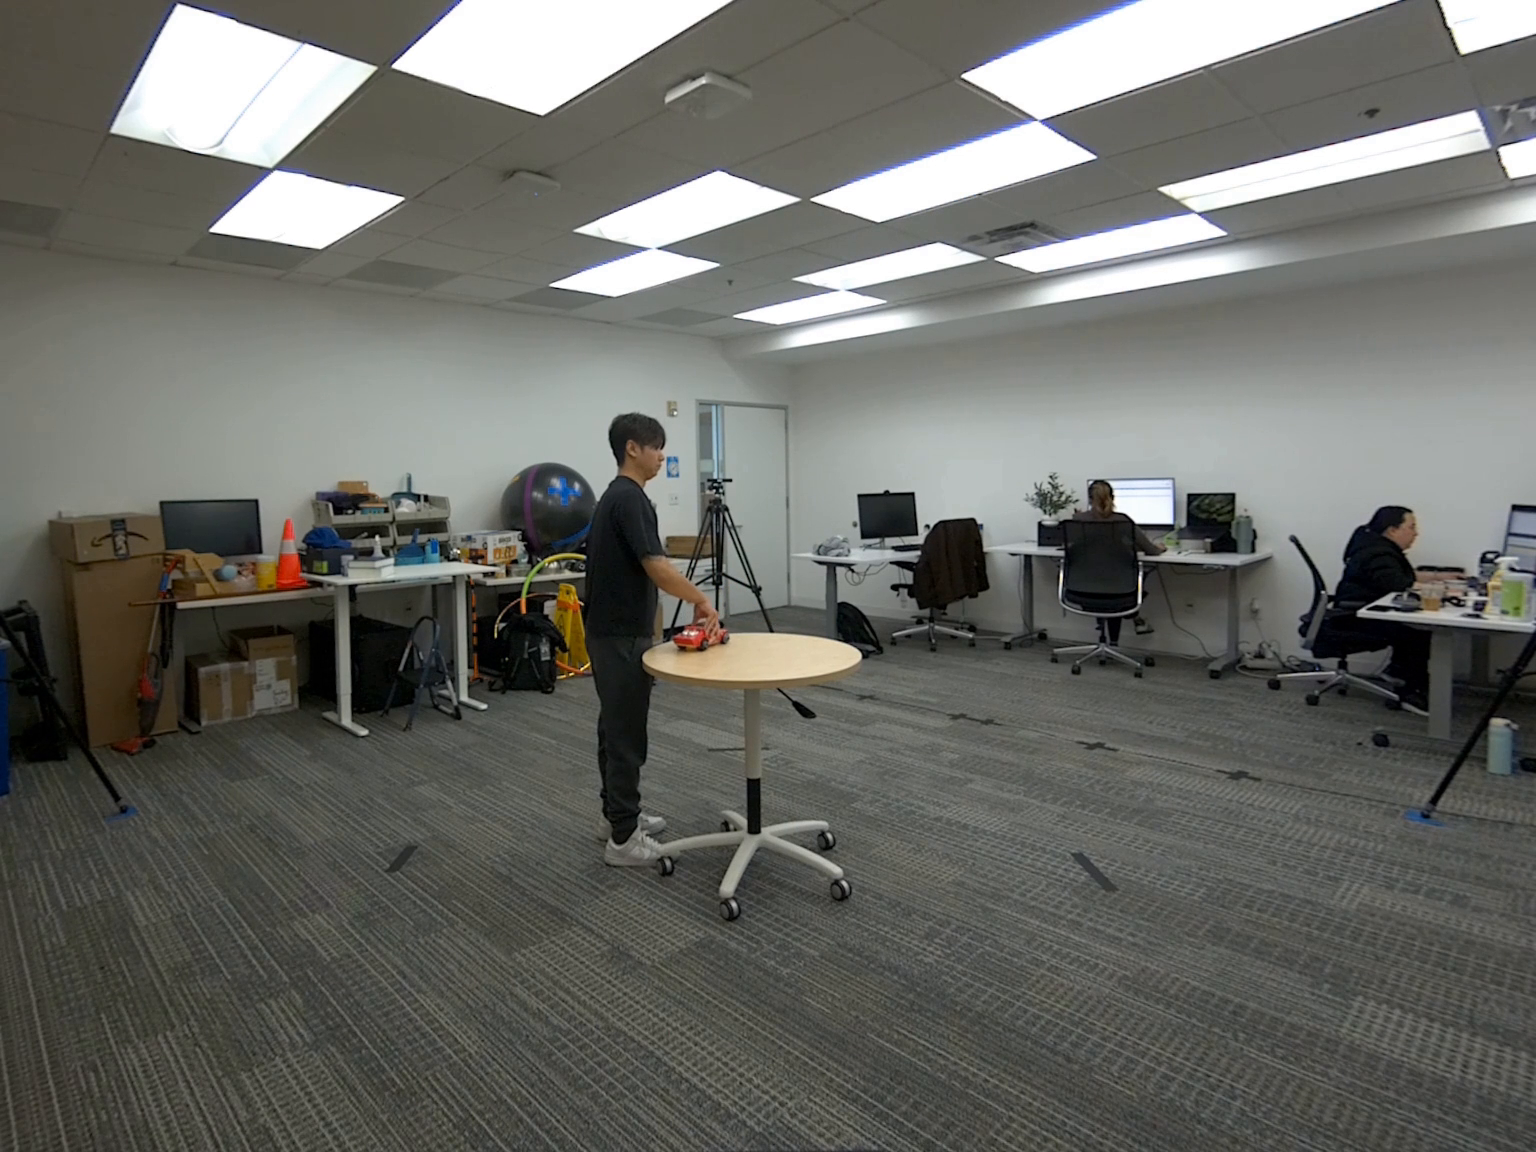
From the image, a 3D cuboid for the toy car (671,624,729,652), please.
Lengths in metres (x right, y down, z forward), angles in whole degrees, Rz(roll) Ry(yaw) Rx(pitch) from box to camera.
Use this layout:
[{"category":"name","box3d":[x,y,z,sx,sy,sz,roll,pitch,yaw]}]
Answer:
[{"category":"toy car","box3d":[-0.249,0.228,3.126,0.134,0.083,0.247,5,-3,31]}]
